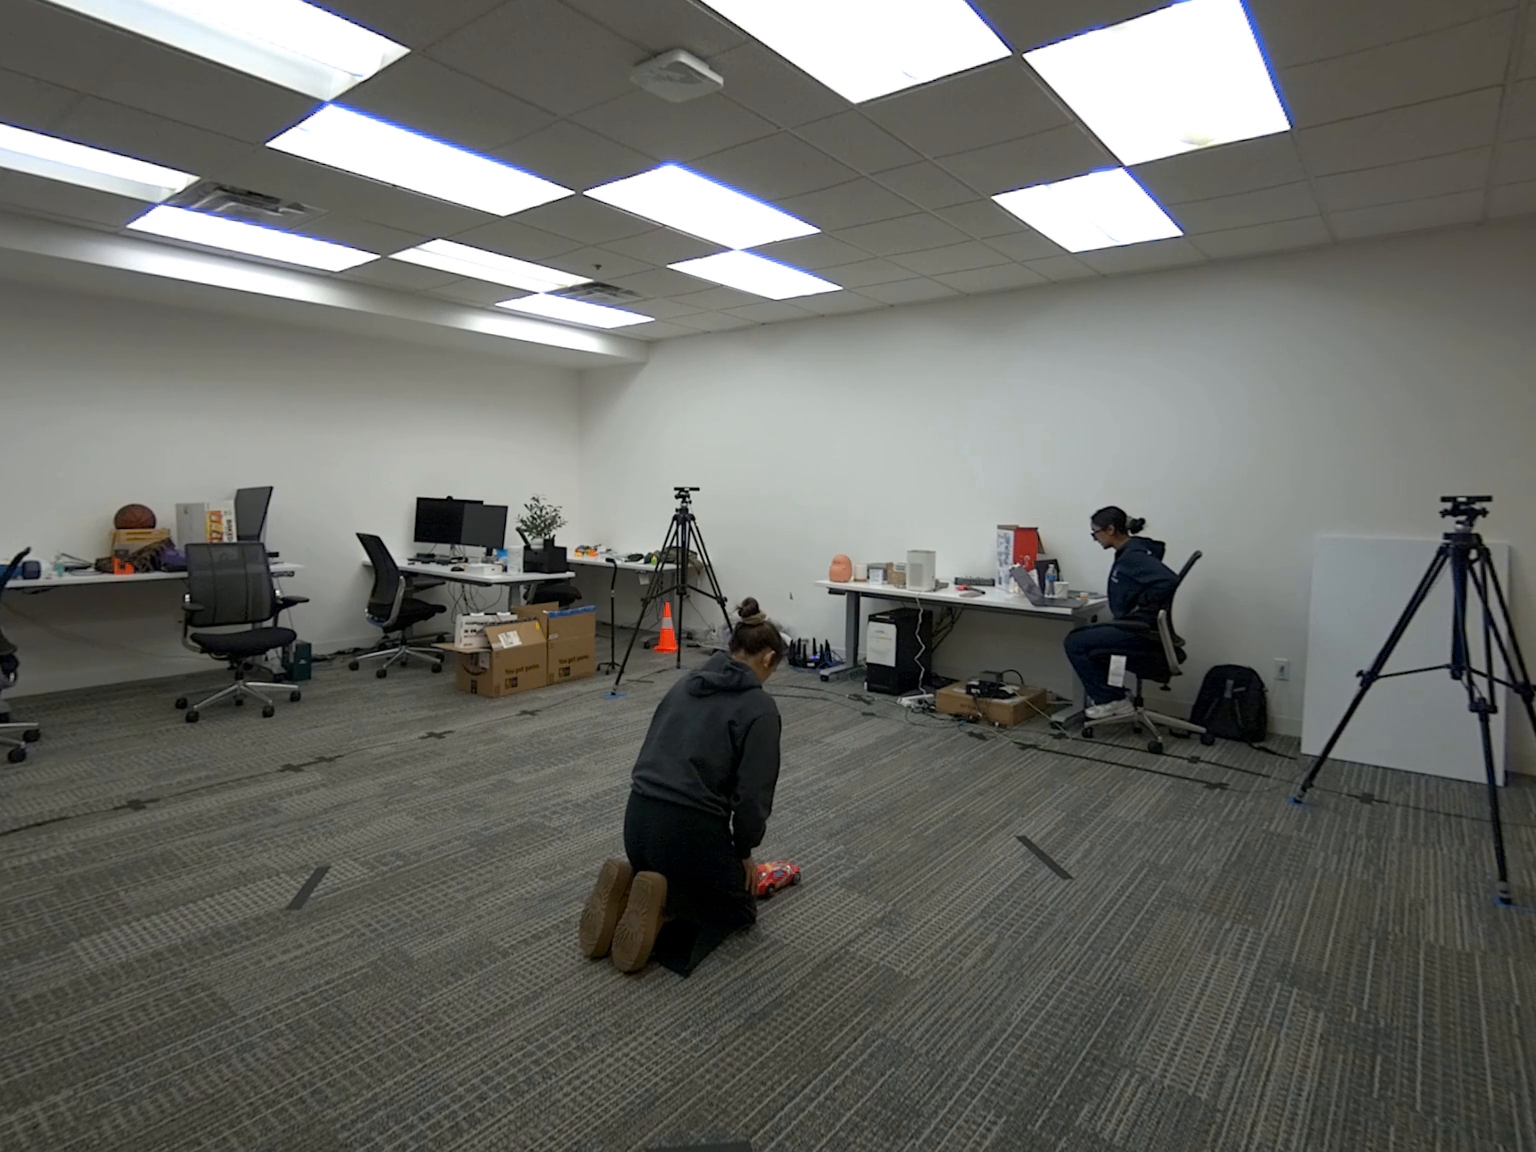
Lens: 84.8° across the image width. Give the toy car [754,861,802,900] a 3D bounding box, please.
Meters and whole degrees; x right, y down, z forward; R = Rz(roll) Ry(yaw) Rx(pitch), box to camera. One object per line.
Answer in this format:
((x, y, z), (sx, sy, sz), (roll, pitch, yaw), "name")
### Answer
((0.007, 1.057, 2.965), (0.135, 0.083, 0.245), (6, -4, 42), "toy car")
